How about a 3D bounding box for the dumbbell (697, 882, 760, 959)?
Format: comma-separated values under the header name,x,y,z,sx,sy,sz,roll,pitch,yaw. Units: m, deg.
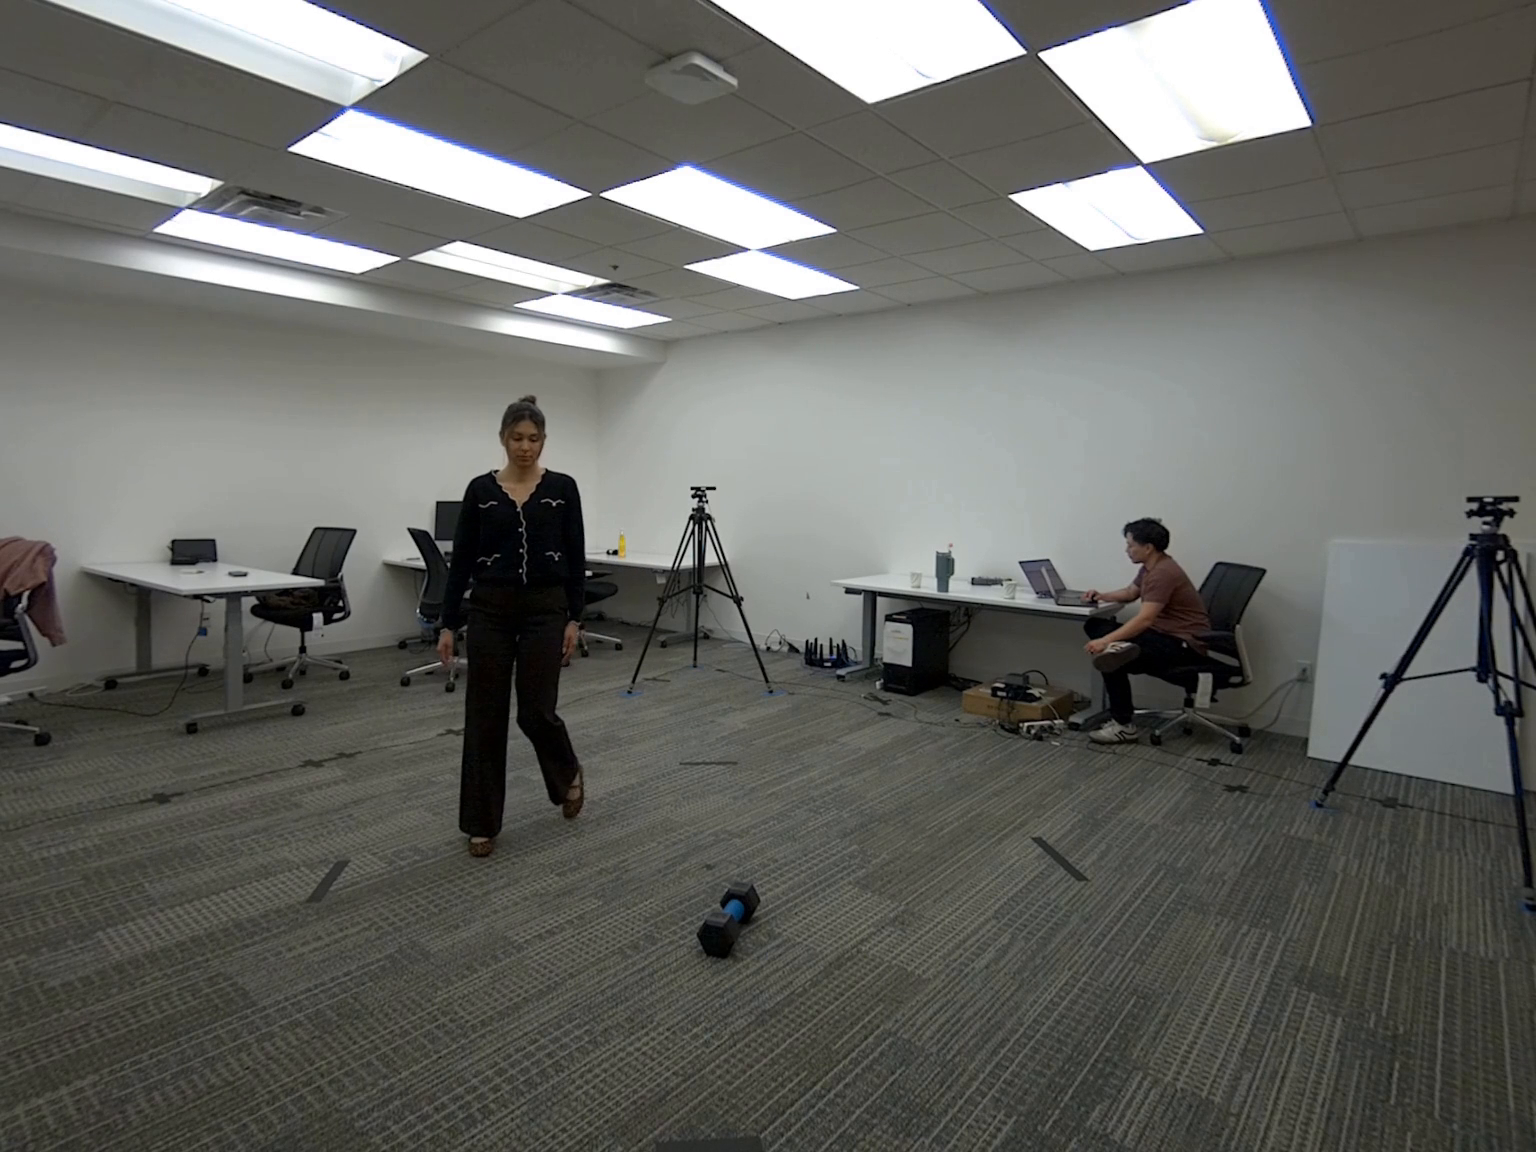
name,x,y,z,sx,sy,sz,roll,pitch,yaw
dumbbell,-0.126,1.054,2.643,0.125,0.108,0.289,0,5,17
